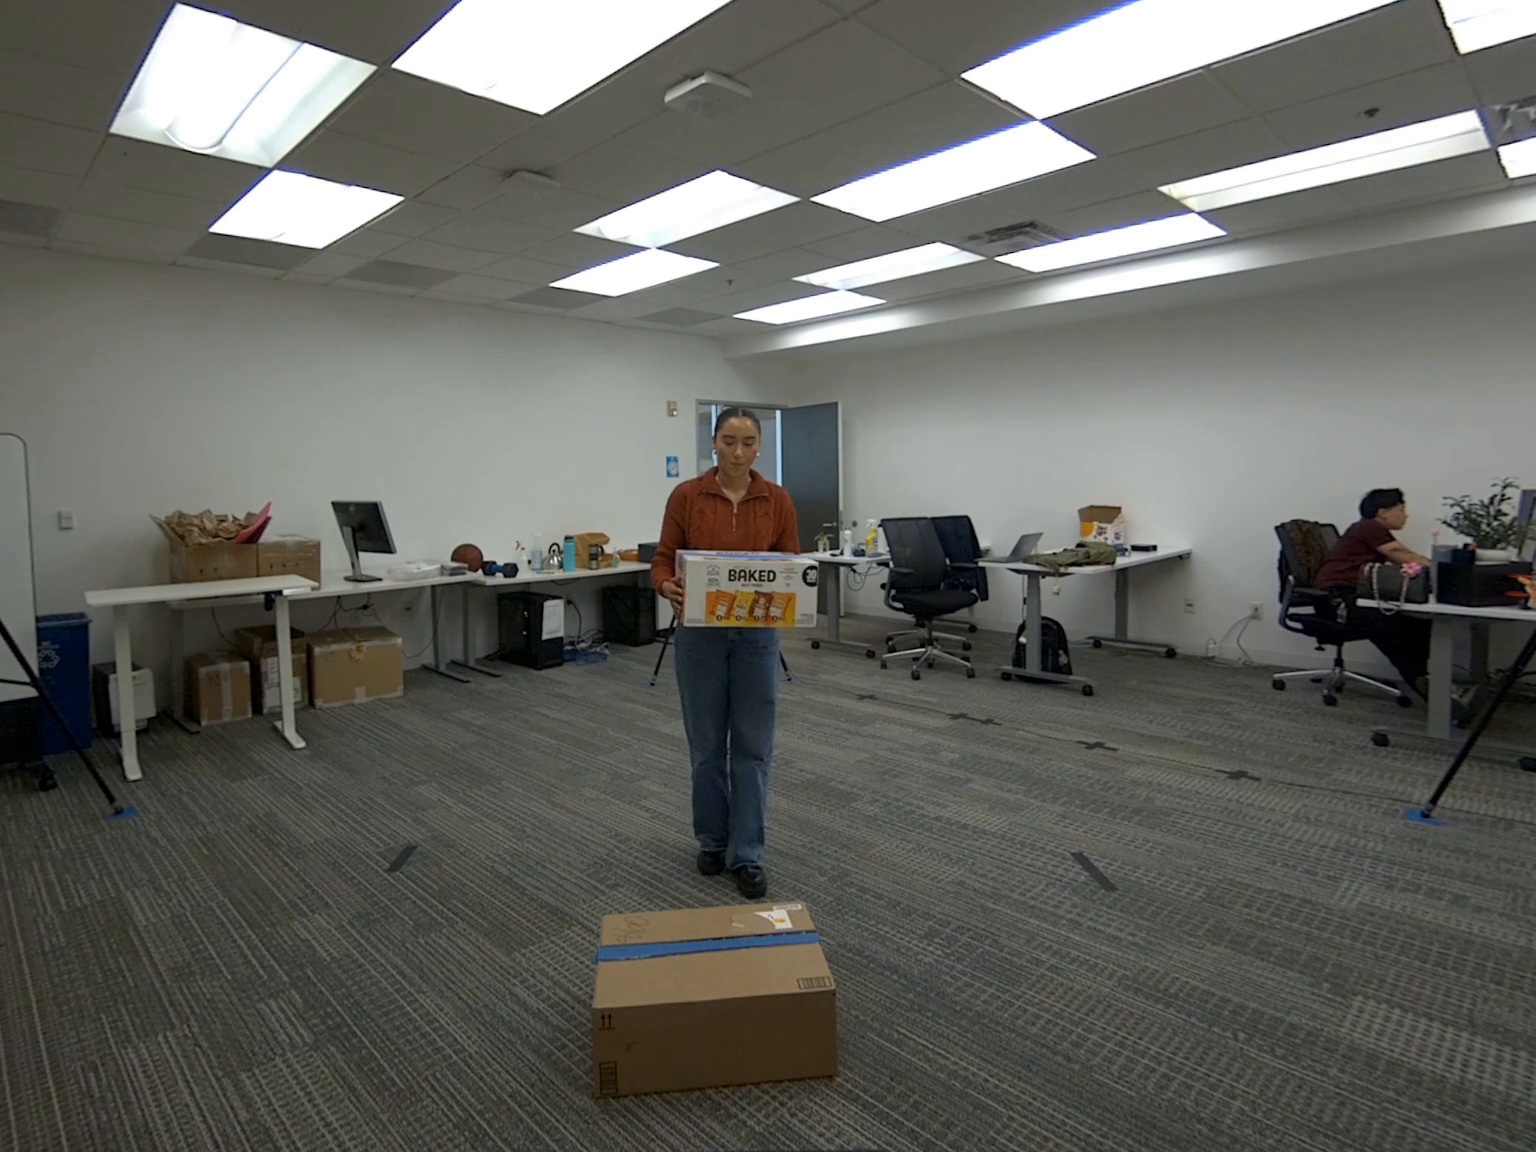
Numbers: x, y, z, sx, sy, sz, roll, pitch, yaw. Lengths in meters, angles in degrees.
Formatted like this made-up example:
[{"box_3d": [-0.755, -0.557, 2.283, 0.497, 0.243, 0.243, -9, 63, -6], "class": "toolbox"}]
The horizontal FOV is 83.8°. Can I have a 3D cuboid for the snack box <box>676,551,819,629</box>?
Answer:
[{"box_3d": [-0.082, 0.036, 2.731, 0.401, 0.205, 0.345, 1, 6, -10], "class": "snack box"}]
